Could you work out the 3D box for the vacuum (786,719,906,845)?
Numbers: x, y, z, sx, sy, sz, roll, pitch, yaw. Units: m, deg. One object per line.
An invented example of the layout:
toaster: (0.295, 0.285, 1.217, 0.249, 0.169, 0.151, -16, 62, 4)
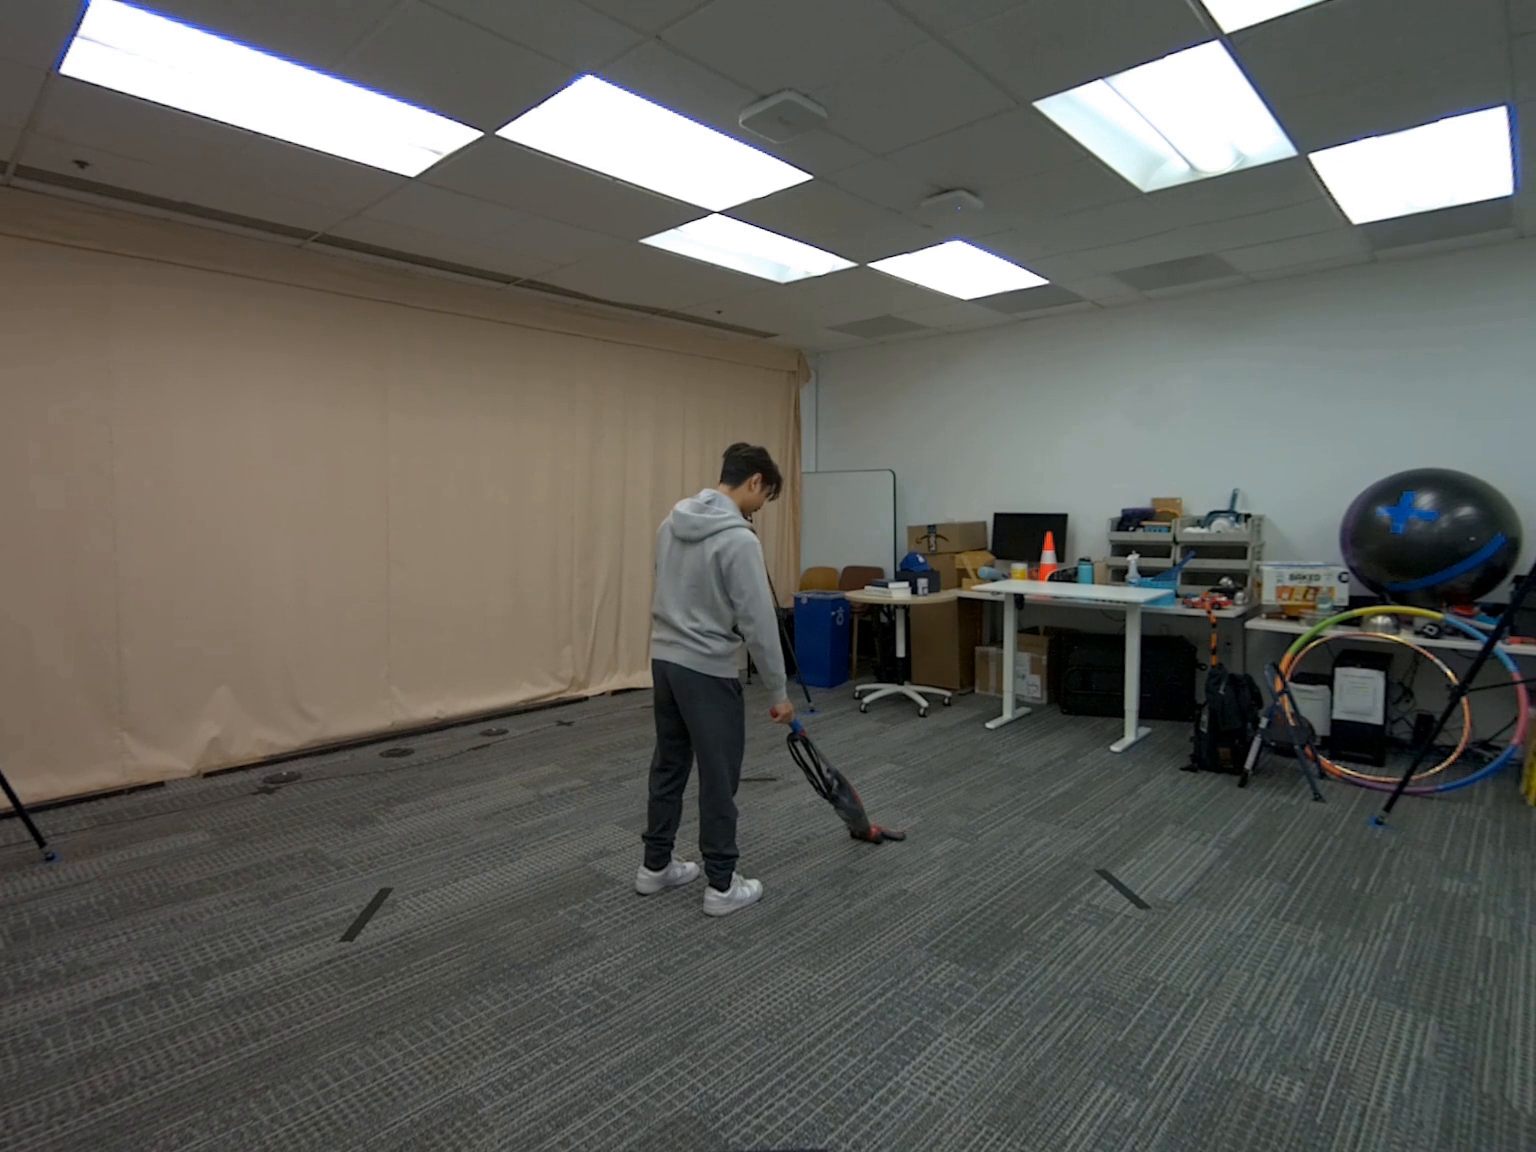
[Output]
vacuum: (0.228, 0.777, 3.209, 0.260, 0.145, 1.015, -1, -39, 31)
